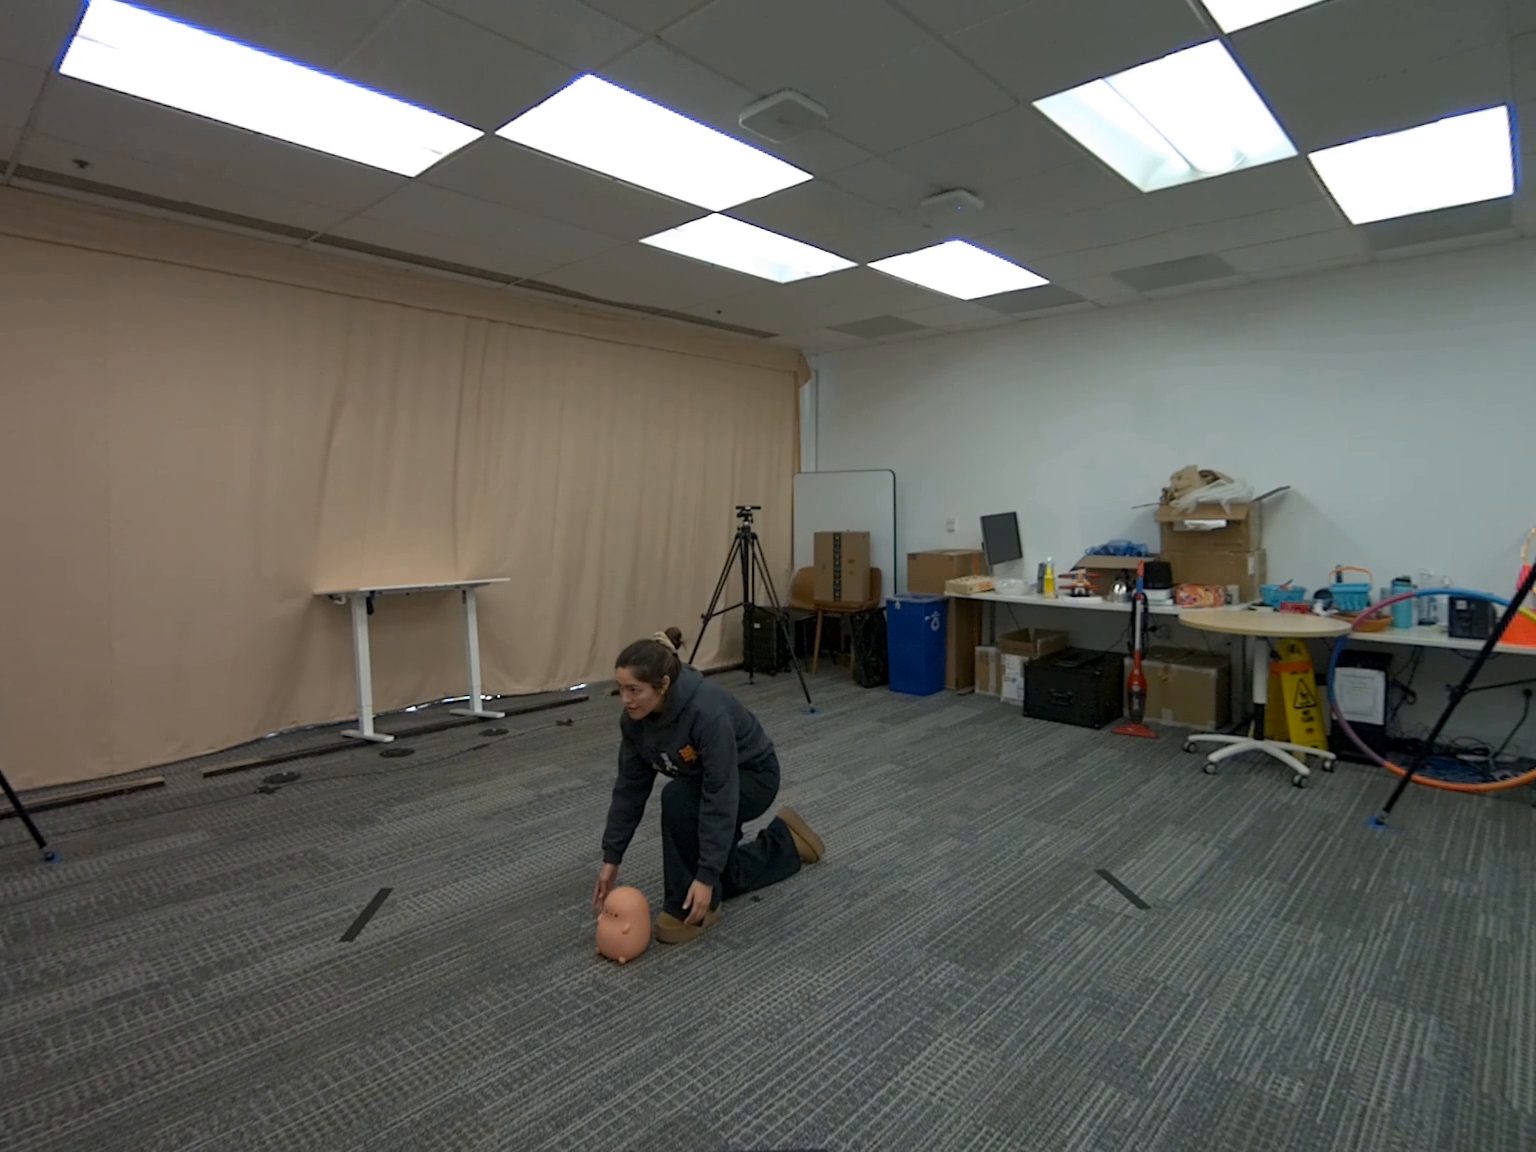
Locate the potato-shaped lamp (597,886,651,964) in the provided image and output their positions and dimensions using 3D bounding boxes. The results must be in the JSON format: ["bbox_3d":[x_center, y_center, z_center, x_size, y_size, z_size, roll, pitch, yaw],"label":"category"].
[{"bbox_3d":[-0.427,1.082,2.631,0.170,0.197,0.166,5,8,37],"label":"potato-shaped lamp"}]
